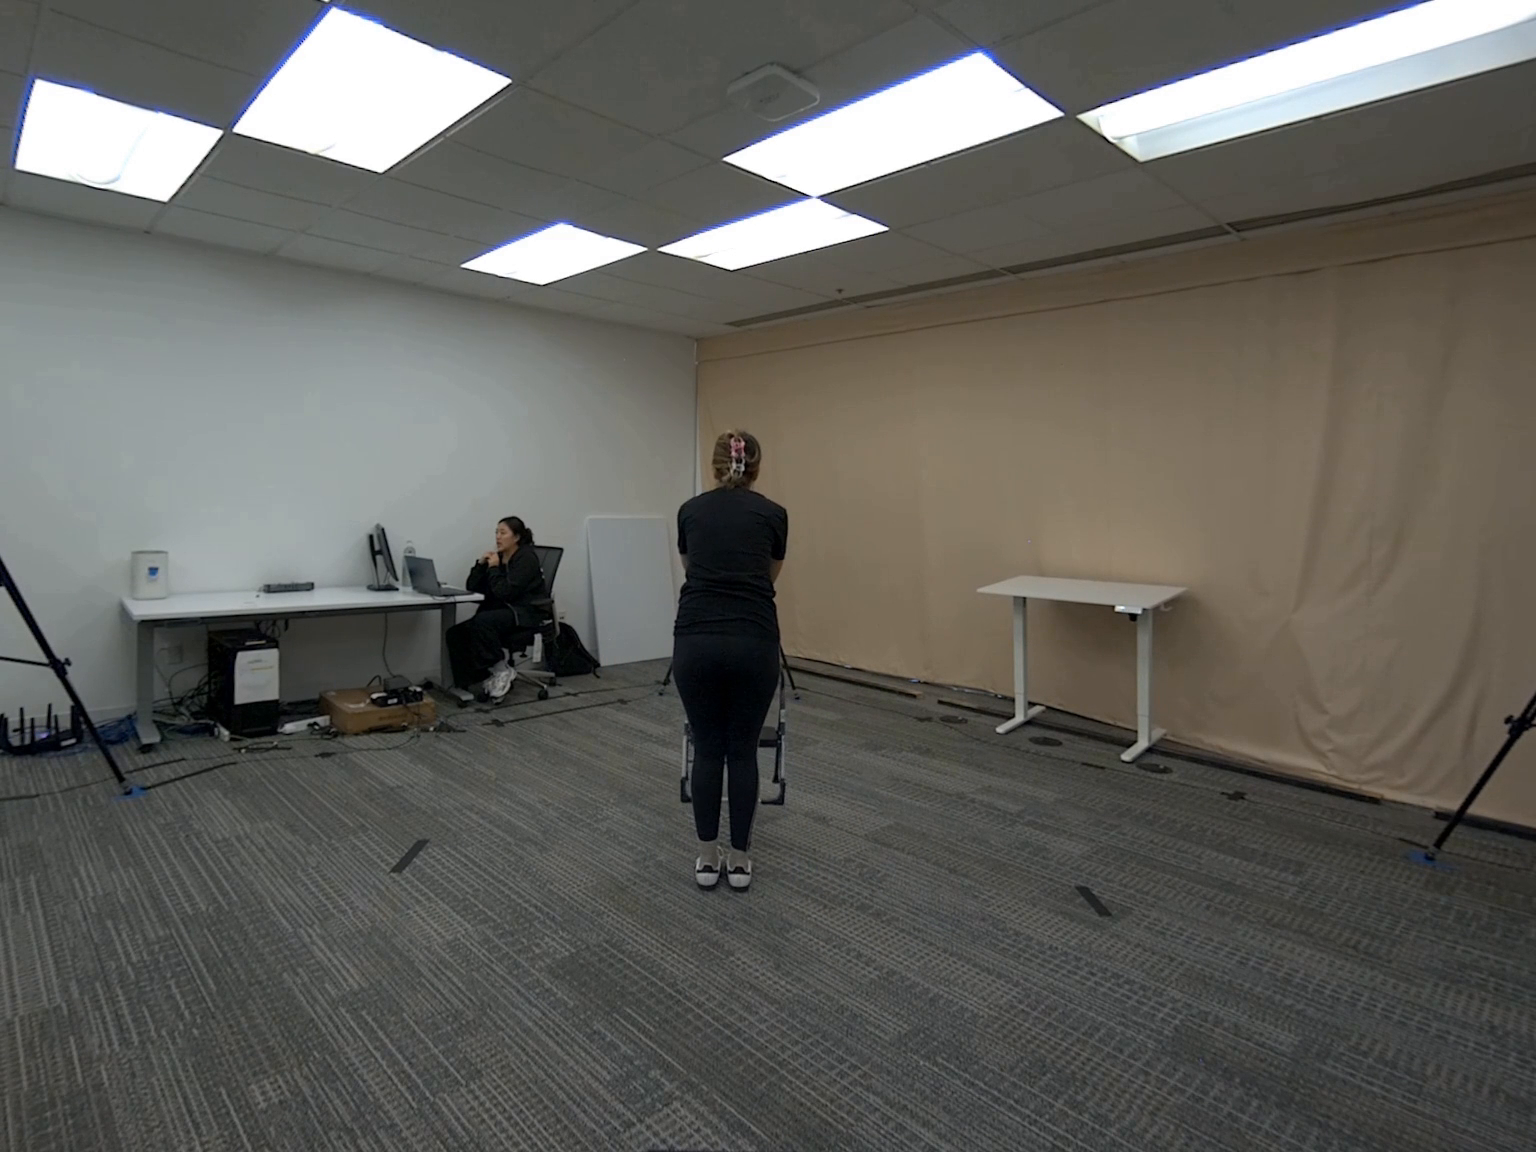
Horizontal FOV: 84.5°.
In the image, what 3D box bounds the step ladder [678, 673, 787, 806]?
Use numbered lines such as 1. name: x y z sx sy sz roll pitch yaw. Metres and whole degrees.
1. step ladder: -0.145 0.605 3.507 0.429 0.606 0.350 2 0 -4
